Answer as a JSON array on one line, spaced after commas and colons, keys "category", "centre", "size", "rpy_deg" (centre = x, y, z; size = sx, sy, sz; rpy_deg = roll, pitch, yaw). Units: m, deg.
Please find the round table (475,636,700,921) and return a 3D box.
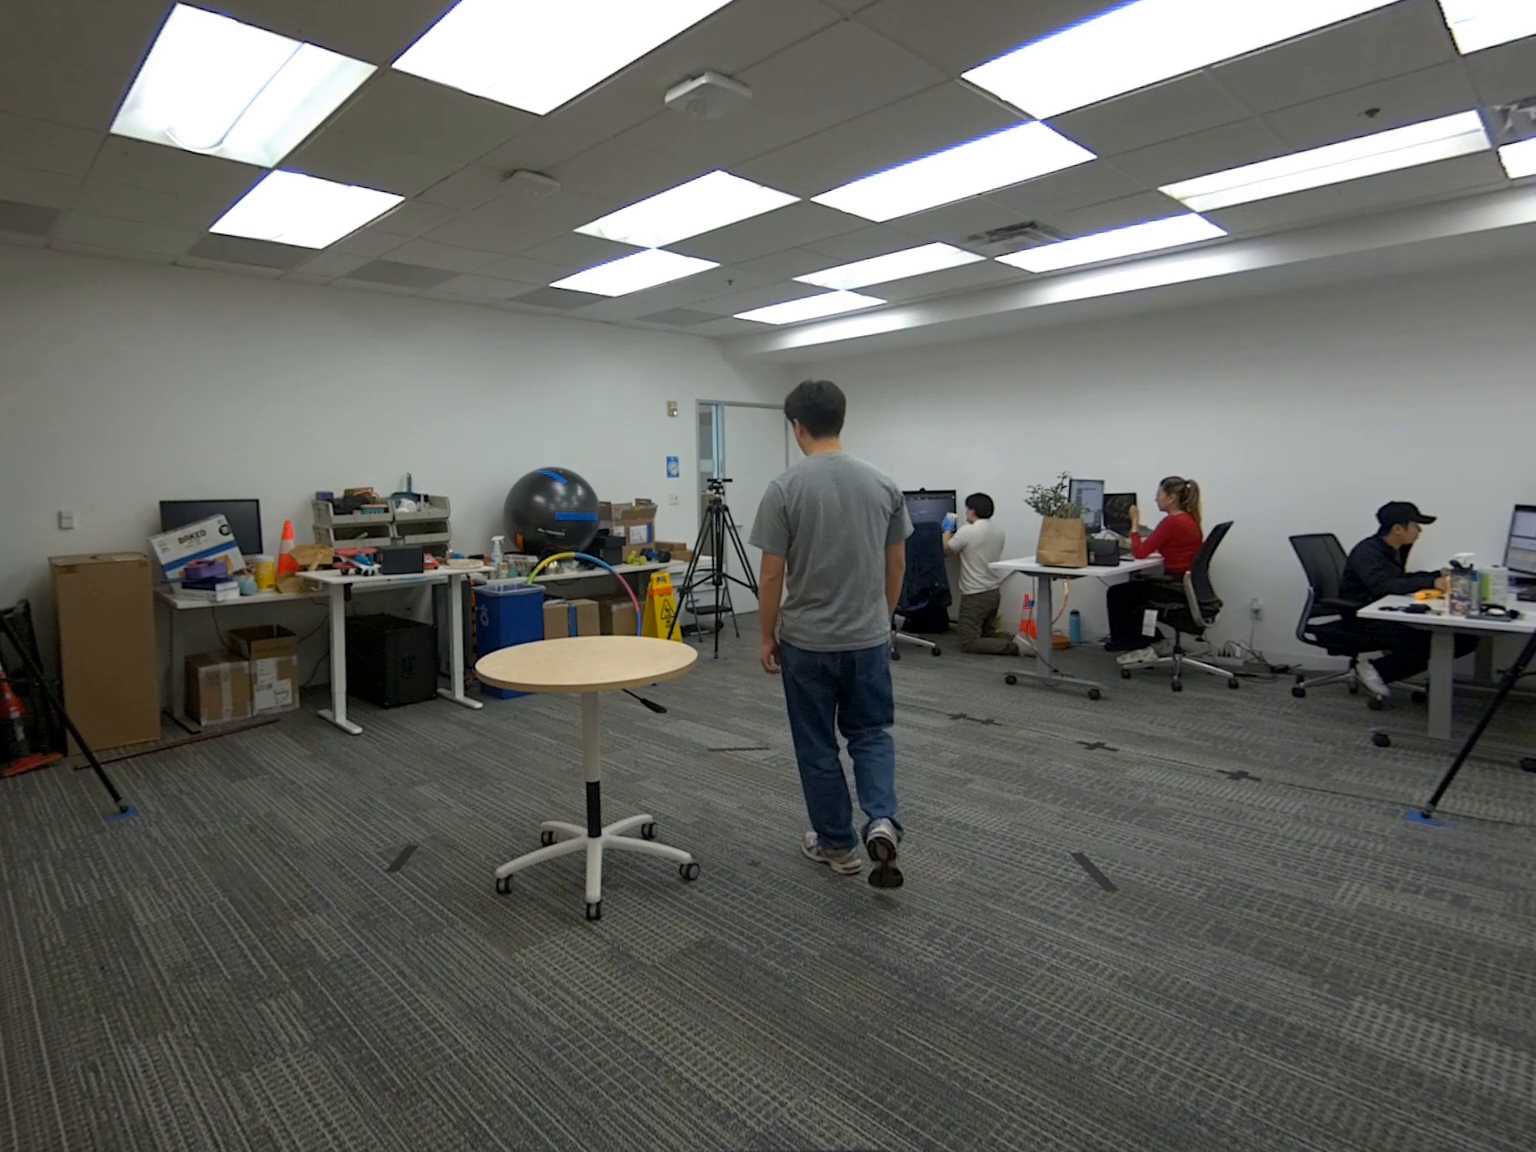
[{"category": "round table", "centre": [-0.612, 0.676, 3.025], "size": [0.763, 0.791, 0.768], "rpy_deg": [-1, 5, -2]}]
